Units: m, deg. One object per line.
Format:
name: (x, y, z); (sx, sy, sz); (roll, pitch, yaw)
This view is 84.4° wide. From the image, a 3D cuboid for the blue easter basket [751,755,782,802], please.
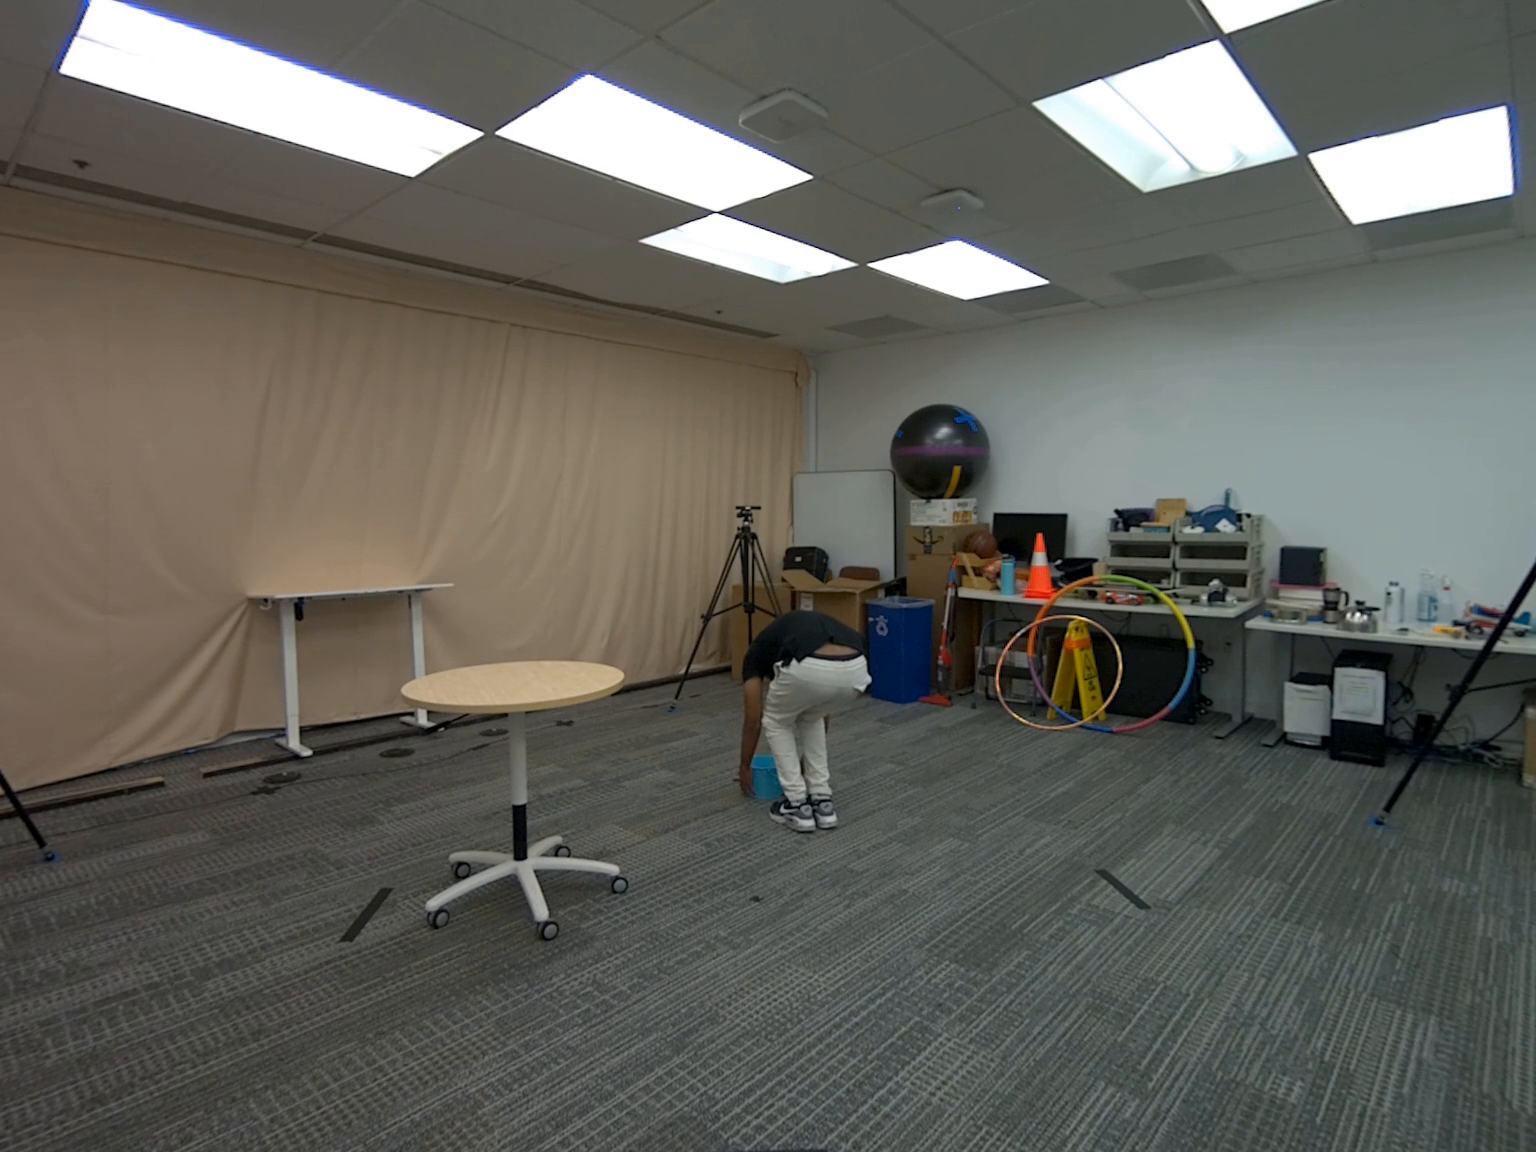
blue easter basket: (-0.012, 0.975, 4.092); (0.243, 0.155, 0.244); (0, 5, -2)
